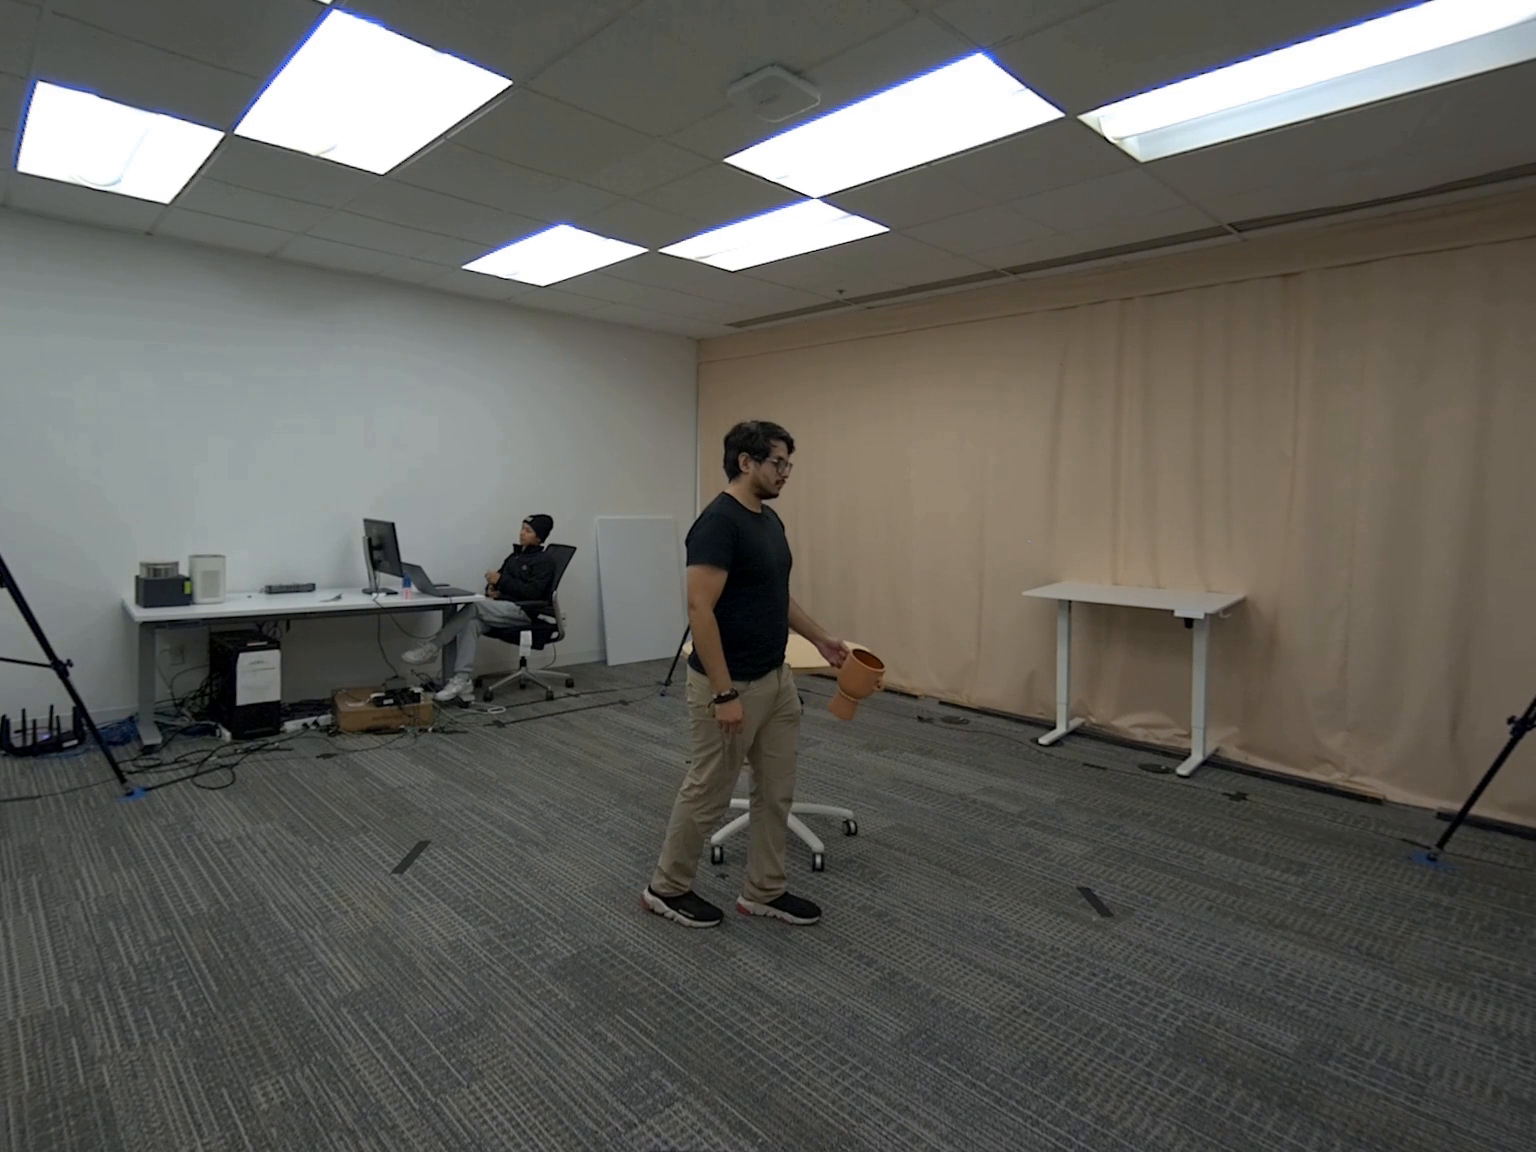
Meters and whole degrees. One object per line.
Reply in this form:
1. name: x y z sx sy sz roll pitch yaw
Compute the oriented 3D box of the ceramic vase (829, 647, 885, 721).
1. ceramic vase: 0.285 0.372 2.850 0.133 0.218 0.162 20 18 -13
